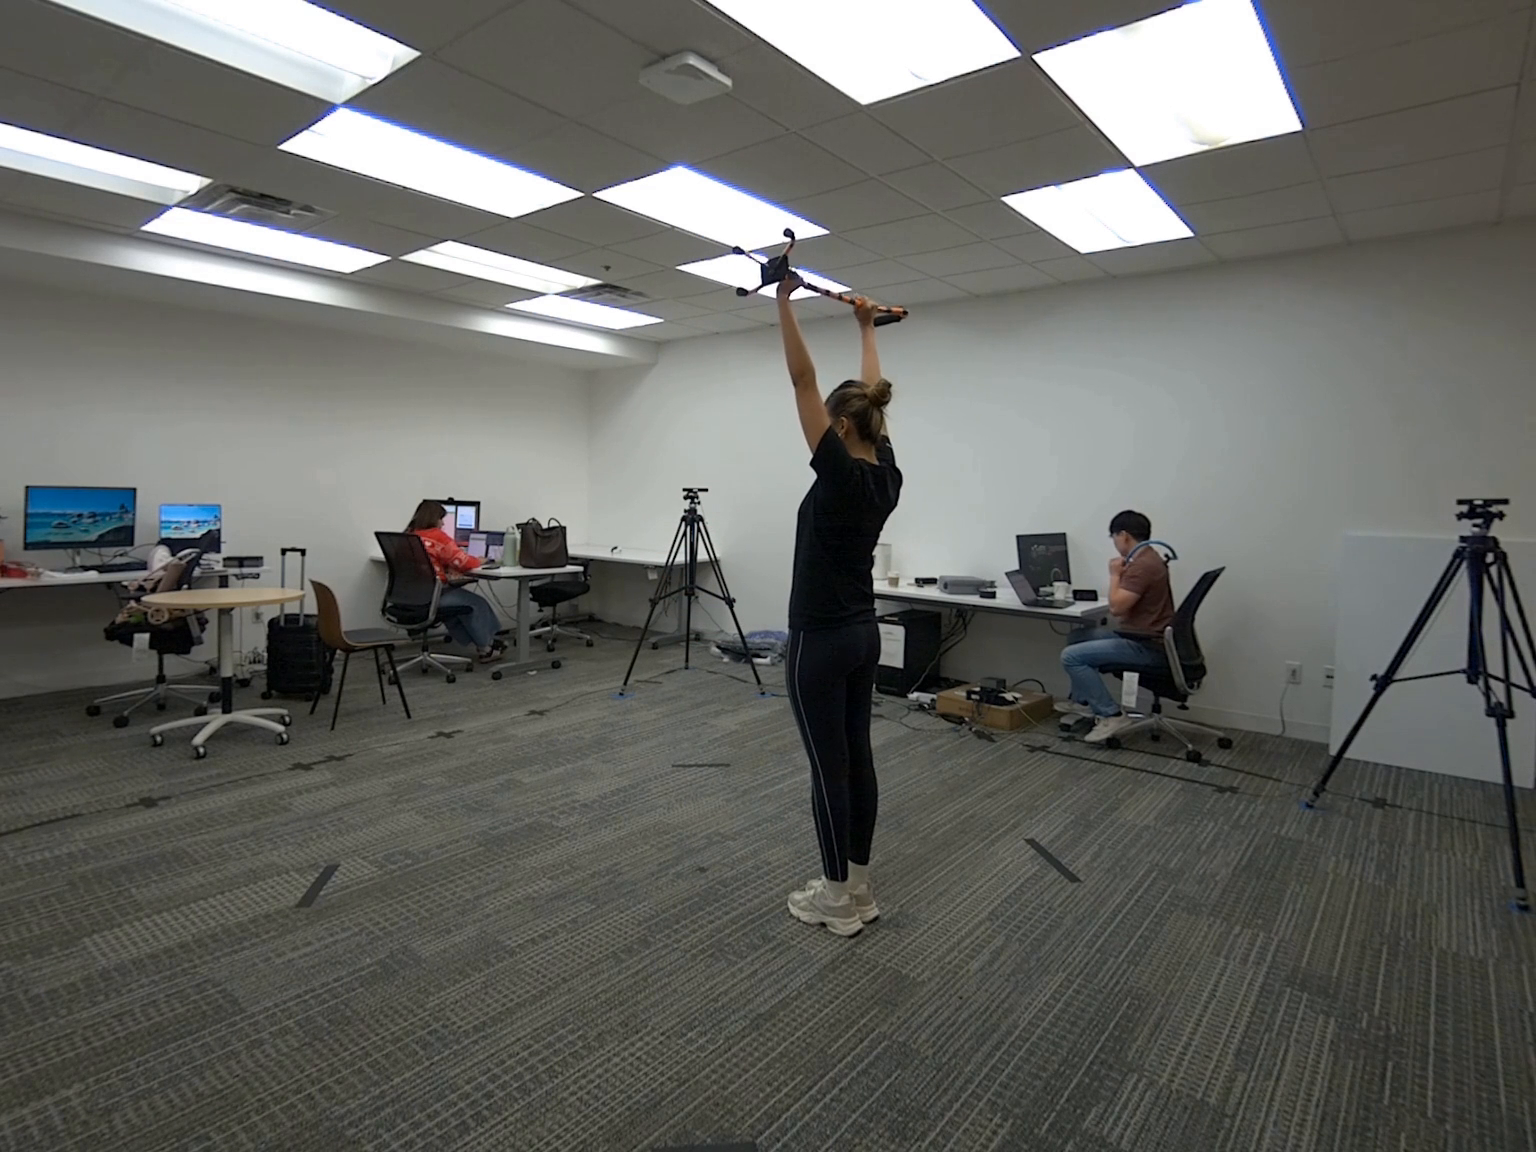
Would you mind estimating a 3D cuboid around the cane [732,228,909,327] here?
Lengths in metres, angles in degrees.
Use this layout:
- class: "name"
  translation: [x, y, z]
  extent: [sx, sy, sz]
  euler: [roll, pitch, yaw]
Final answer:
- class: "cane"
  translation: [0.224, -0.941, 2.799]
  extent: [0.212, 0.151, 0.883]
  euler: [-2, 3, 35]
